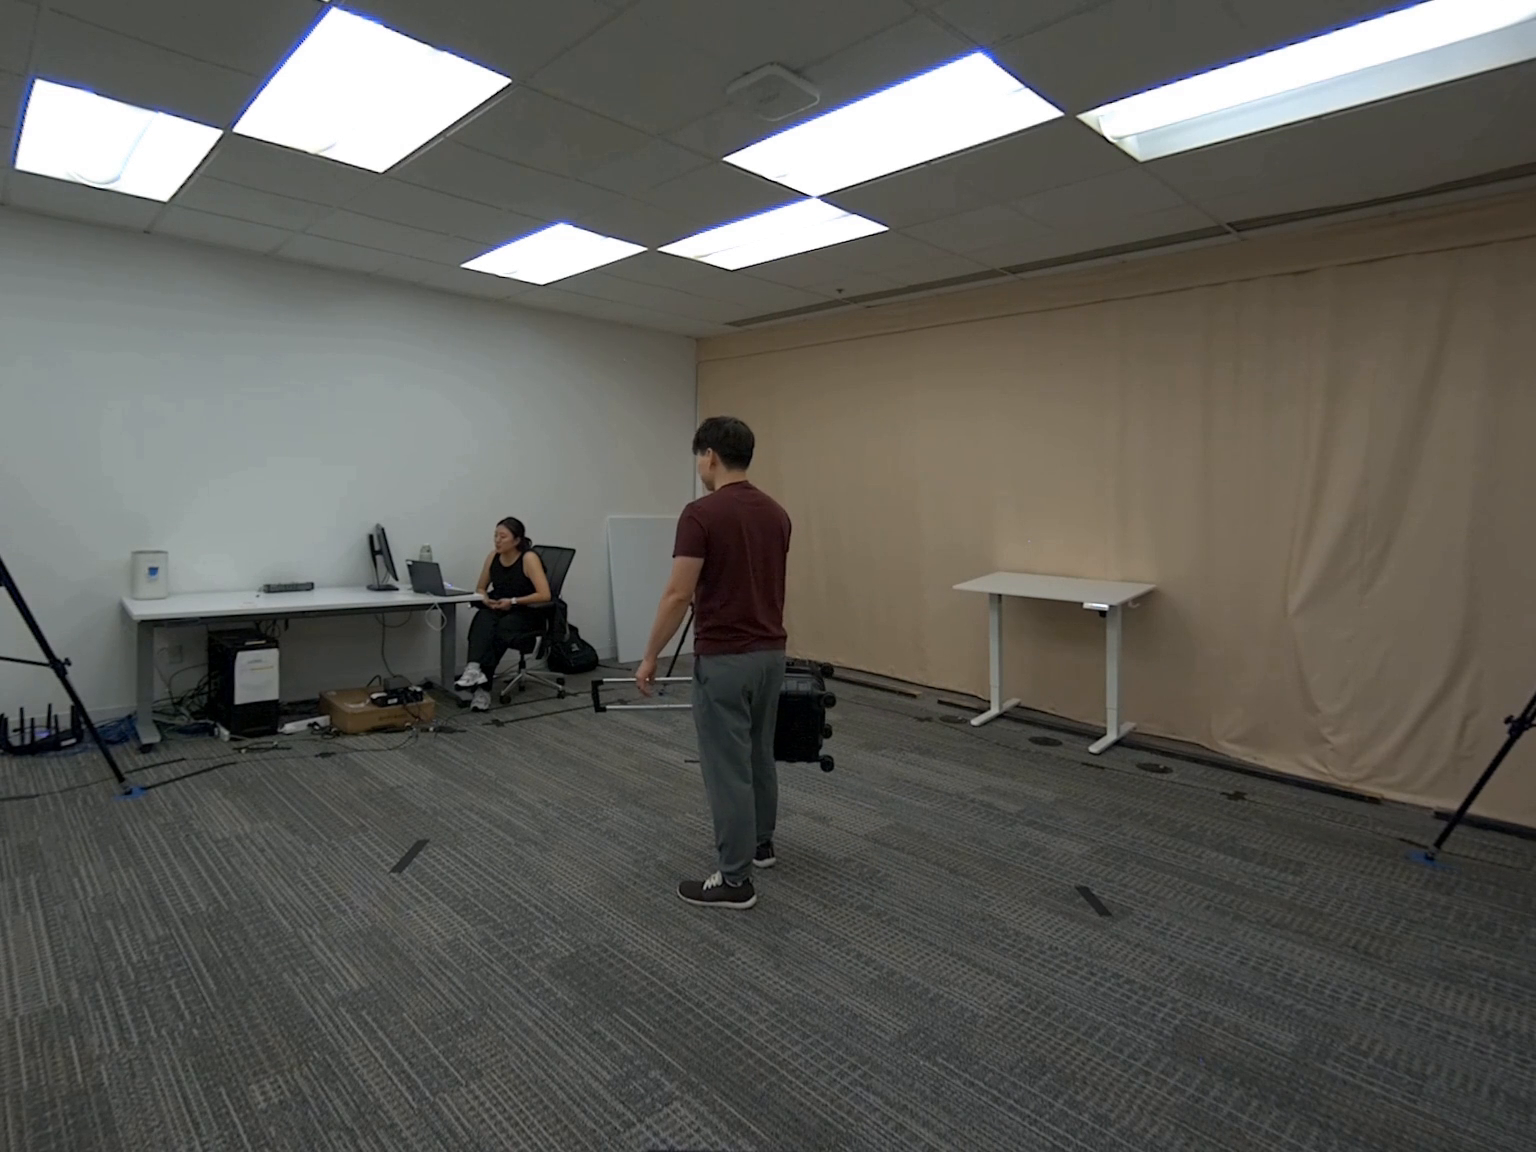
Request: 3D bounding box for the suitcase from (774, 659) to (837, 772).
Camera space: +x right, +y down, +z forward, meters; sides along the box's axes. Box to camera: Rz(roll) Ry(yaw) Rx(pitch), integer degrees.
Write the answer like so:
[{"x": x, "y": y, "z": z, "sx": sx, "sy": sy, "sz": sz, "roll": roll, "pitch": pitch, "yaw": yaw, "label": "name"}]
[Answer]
[{"x": -0.227, "y": 0.516, "z": 3.336, "sx": 0.981, "sy": 0.378, "sz": 0.260, "roll": 2, "pitch": 21, "yaw": 4, "label": "suitcase"}]
